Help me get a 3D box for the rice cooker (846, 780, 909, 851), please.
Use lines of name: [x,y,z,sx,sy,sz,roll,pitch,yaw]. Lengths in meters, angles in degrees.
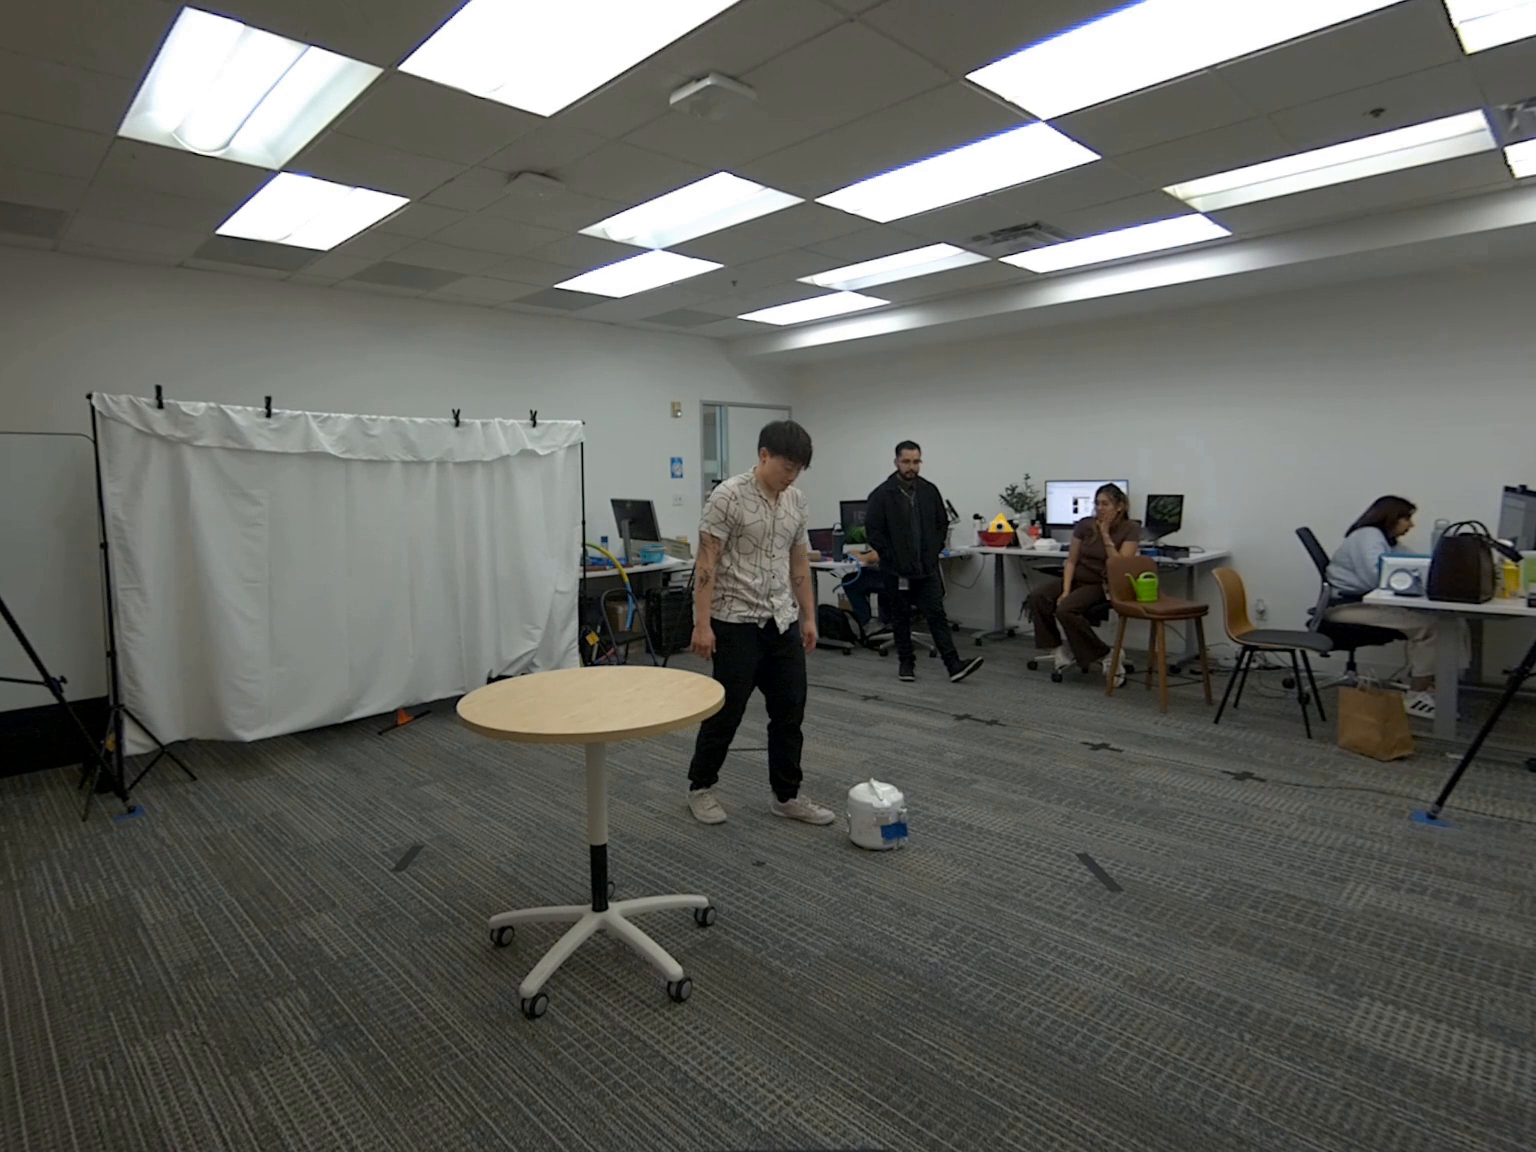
rice cooker: [0.412,0.903,3.270,0.217,0.232,0.222,-1,4,-3]
